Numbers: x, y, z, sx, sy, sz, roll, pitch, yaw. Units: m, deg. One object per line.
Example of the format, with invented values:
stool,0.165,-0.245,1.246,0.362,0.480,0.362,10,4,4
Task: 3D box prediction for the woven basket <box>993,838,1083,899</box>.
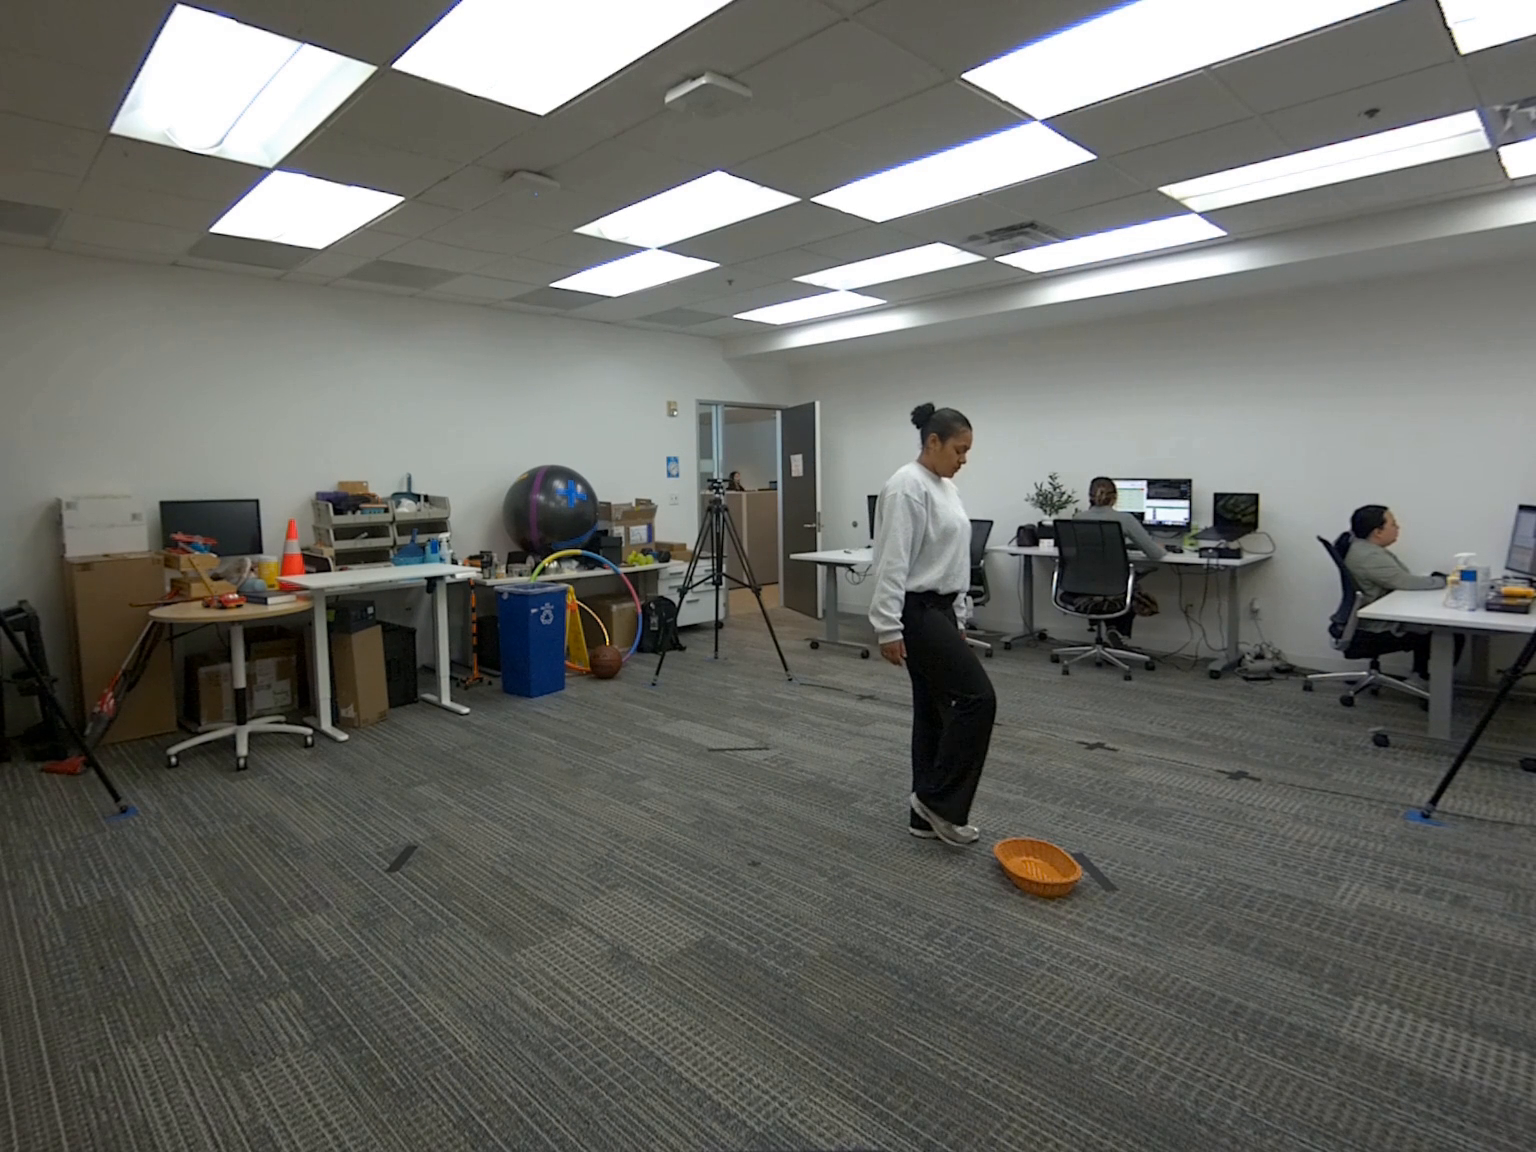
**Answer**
woven basket,0.929,1.010,2.957,0.251,0.073,0.354,-2,6,-6
